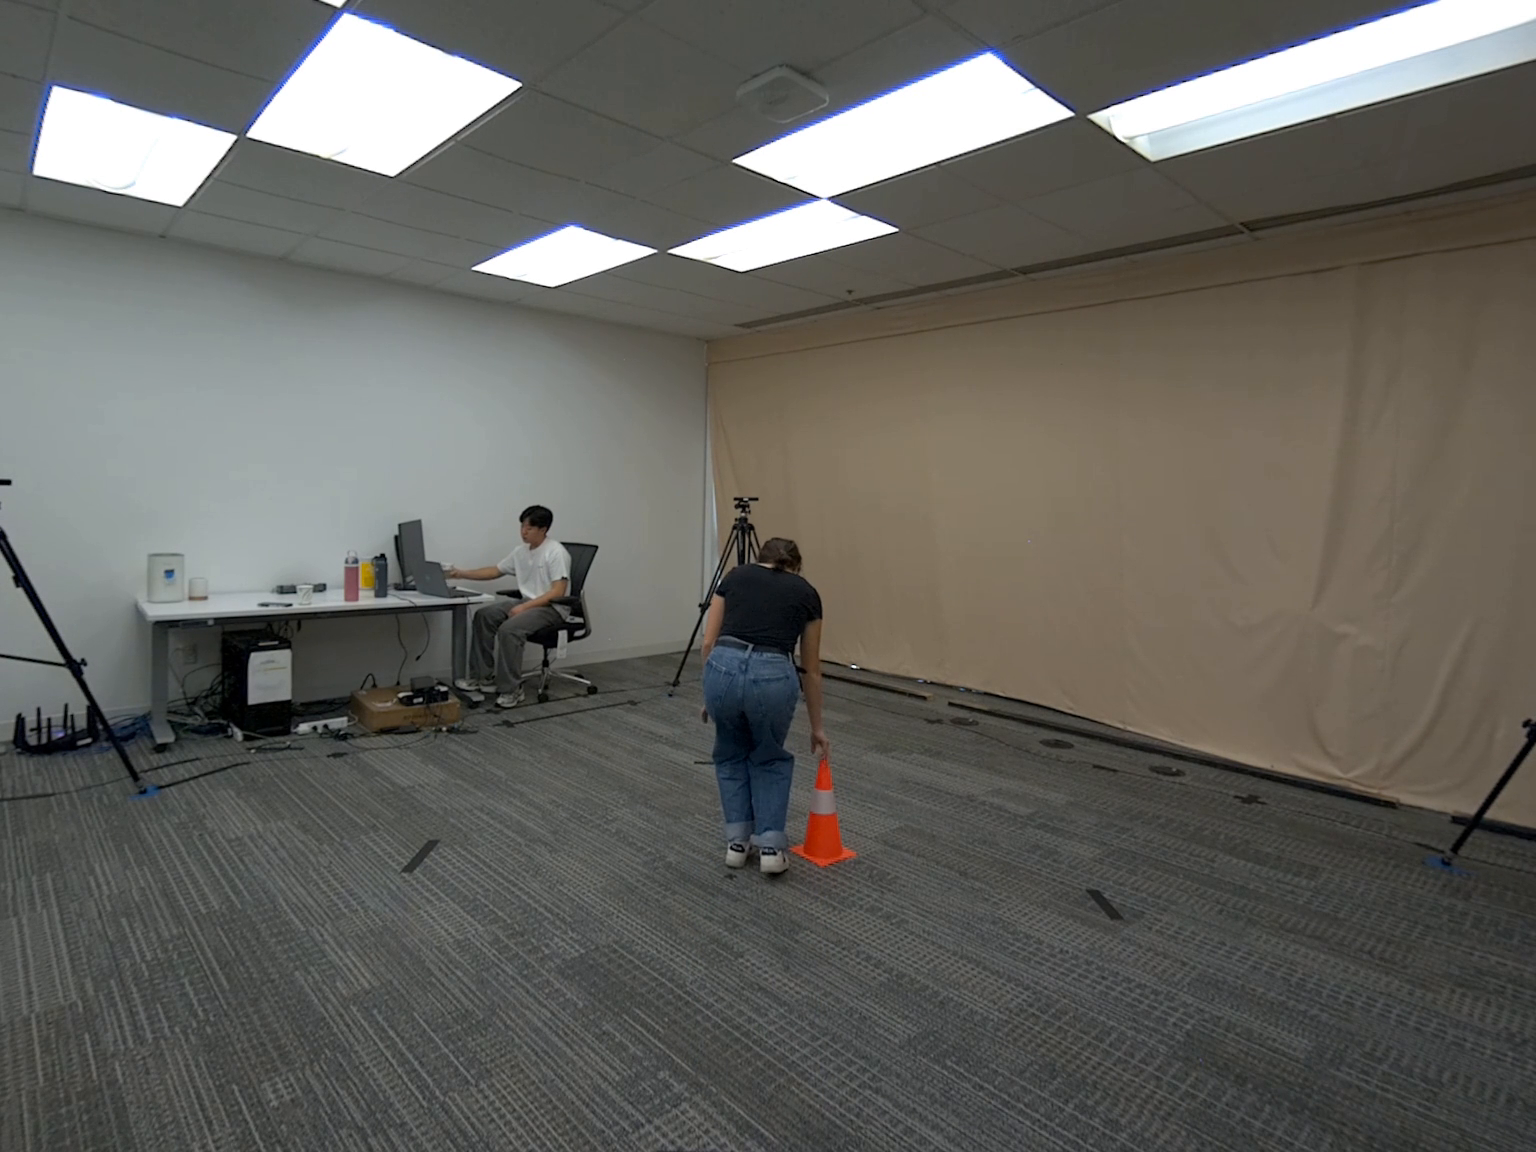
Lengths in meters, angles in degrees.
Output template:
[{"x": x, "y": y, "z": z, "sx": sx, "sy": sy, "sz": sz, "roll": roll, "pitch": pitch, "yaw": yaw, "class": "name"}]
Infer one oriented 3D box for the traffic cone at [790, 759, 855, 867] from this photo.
[{"x": 0.210, "y": 0.910, "z": 3.333, "sx": 0.200, "sy": 0.383, "sz": 0.208, "roll": 1, "pitch": 2, "yaw": -38, "class": "traffic cone"}]
